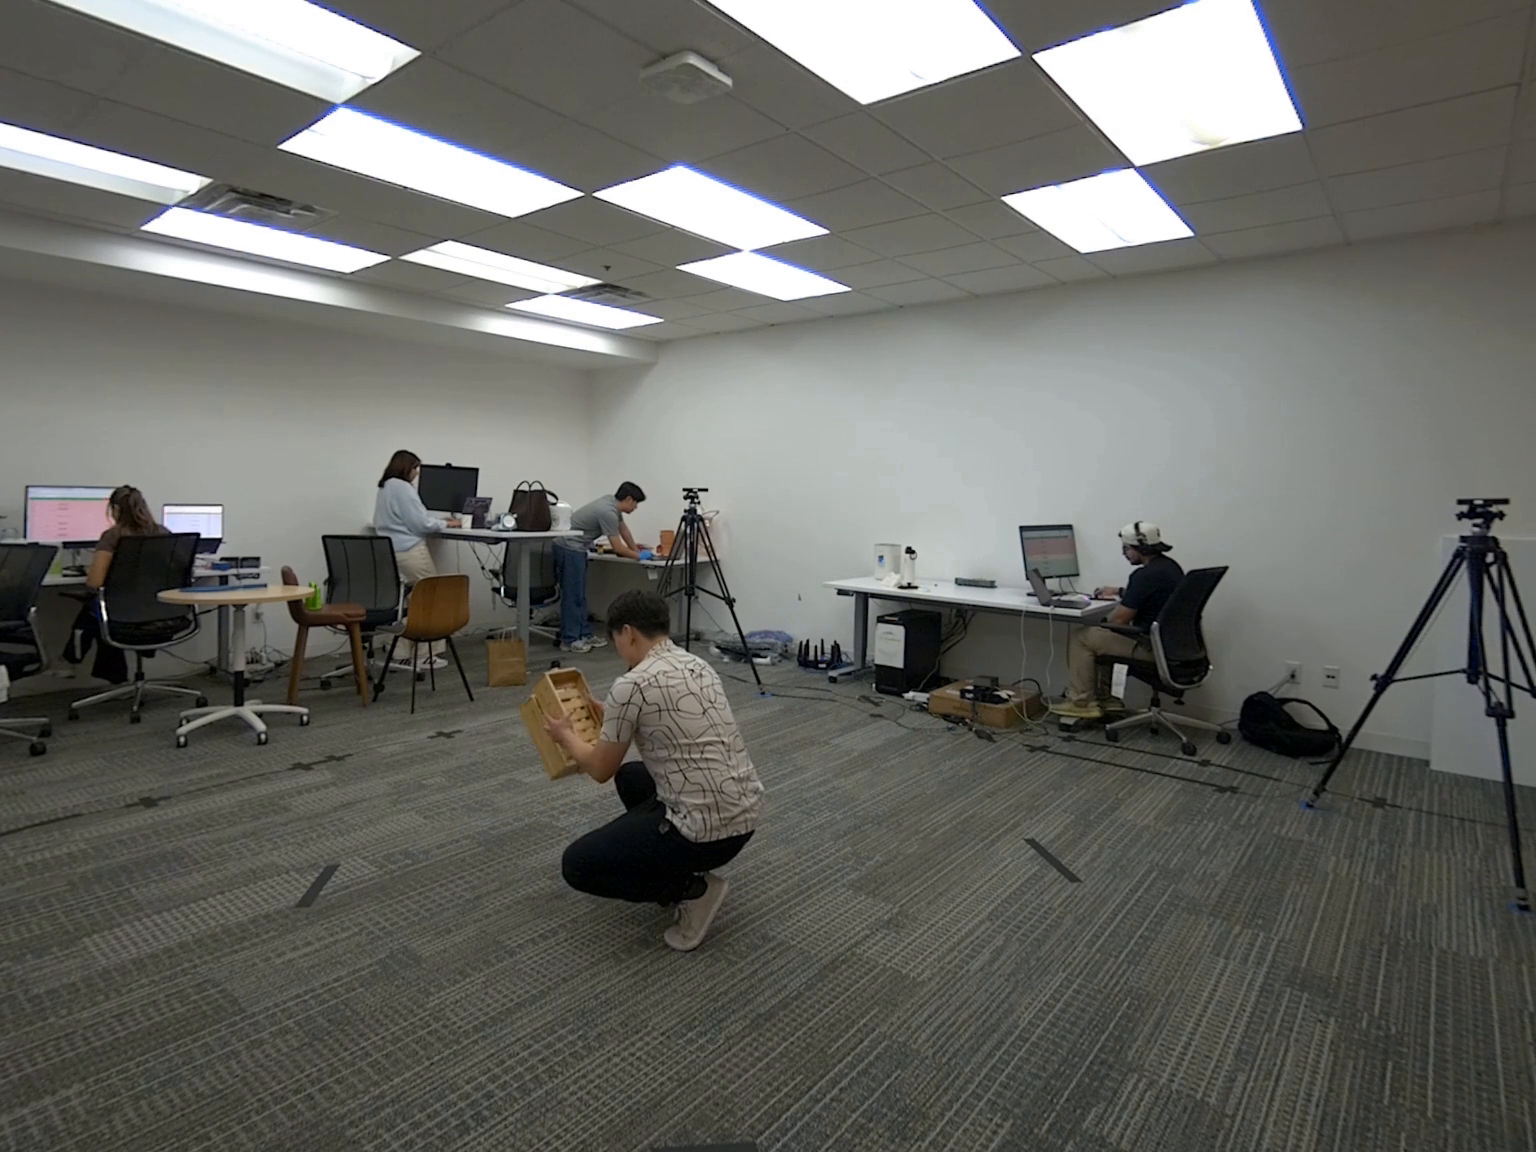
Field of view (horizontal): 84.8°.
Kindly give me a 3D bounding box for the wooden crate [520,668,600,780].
[{"bbox_3d":[-0.713,0.534,3.110,0.274,0.334,0.293,-44,-23,28],"label":"wooden crate"}]
